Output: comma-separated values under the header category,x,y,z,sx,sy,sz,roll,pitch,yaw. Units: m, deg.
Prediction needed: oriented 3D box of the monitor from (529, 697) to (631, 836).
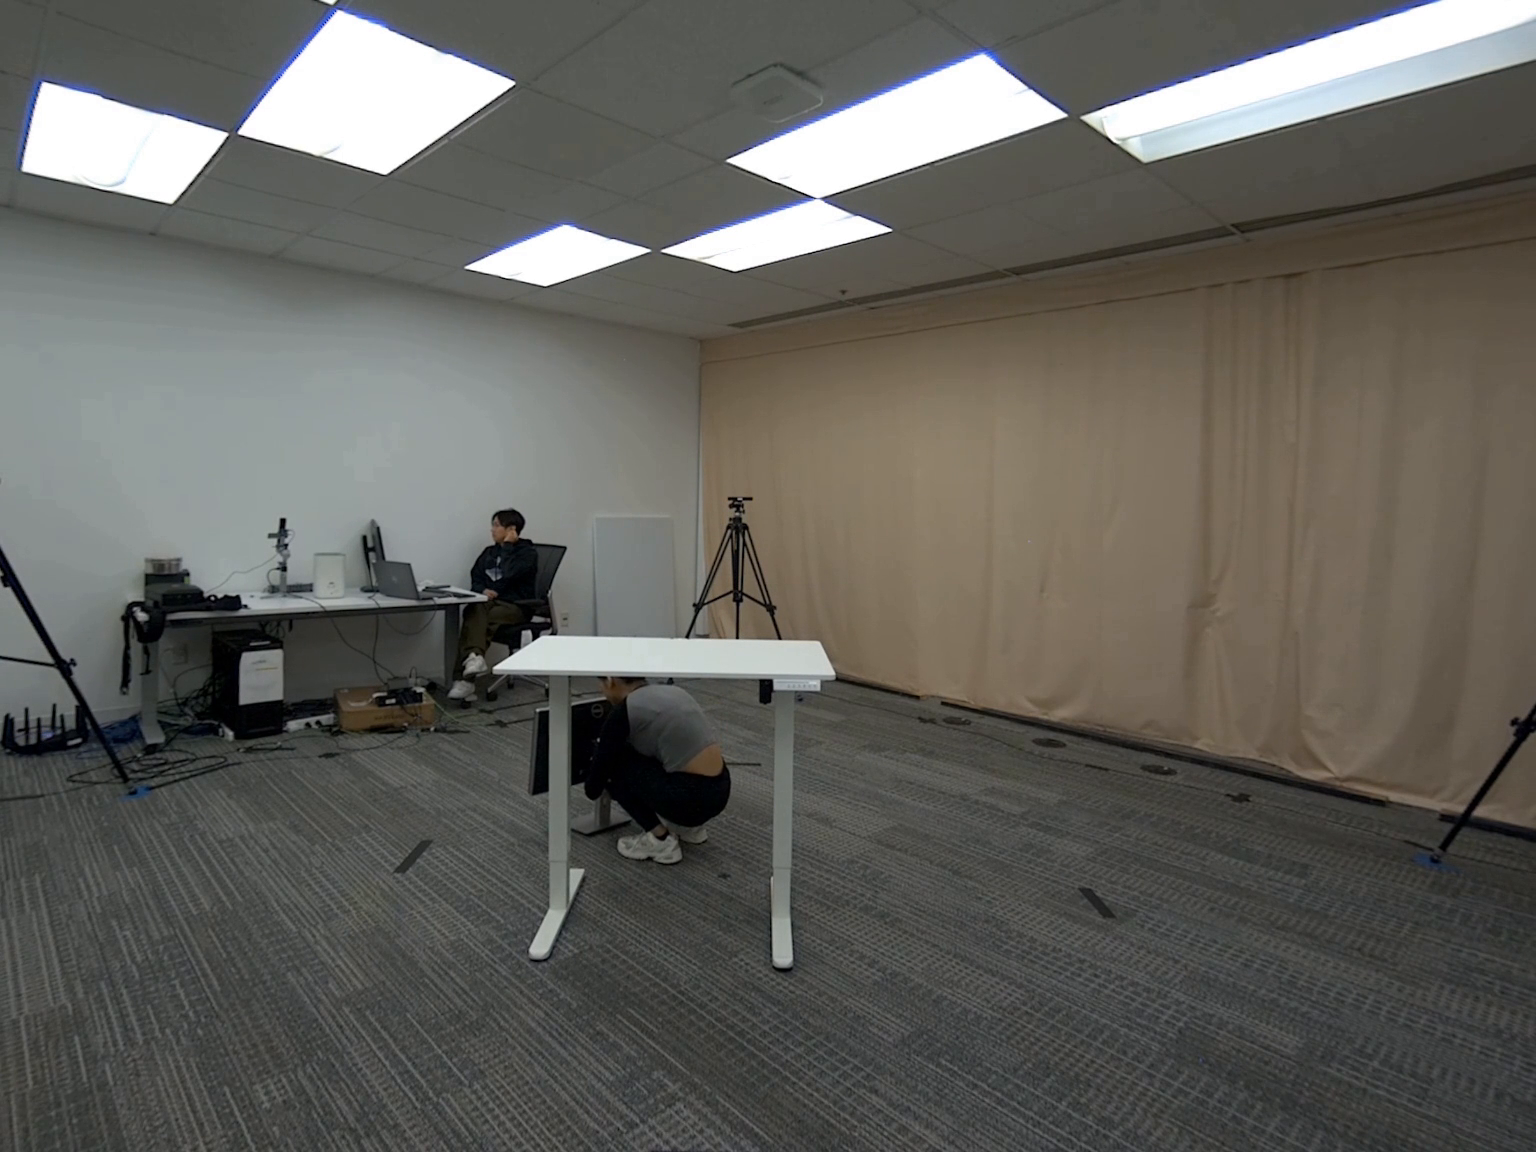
category,x,y,z,sx,sy,sz,roll,pitch,yaw
monitor,-0.736,0.787,3.567,0.191,0.522,0.527,-2,0,42
